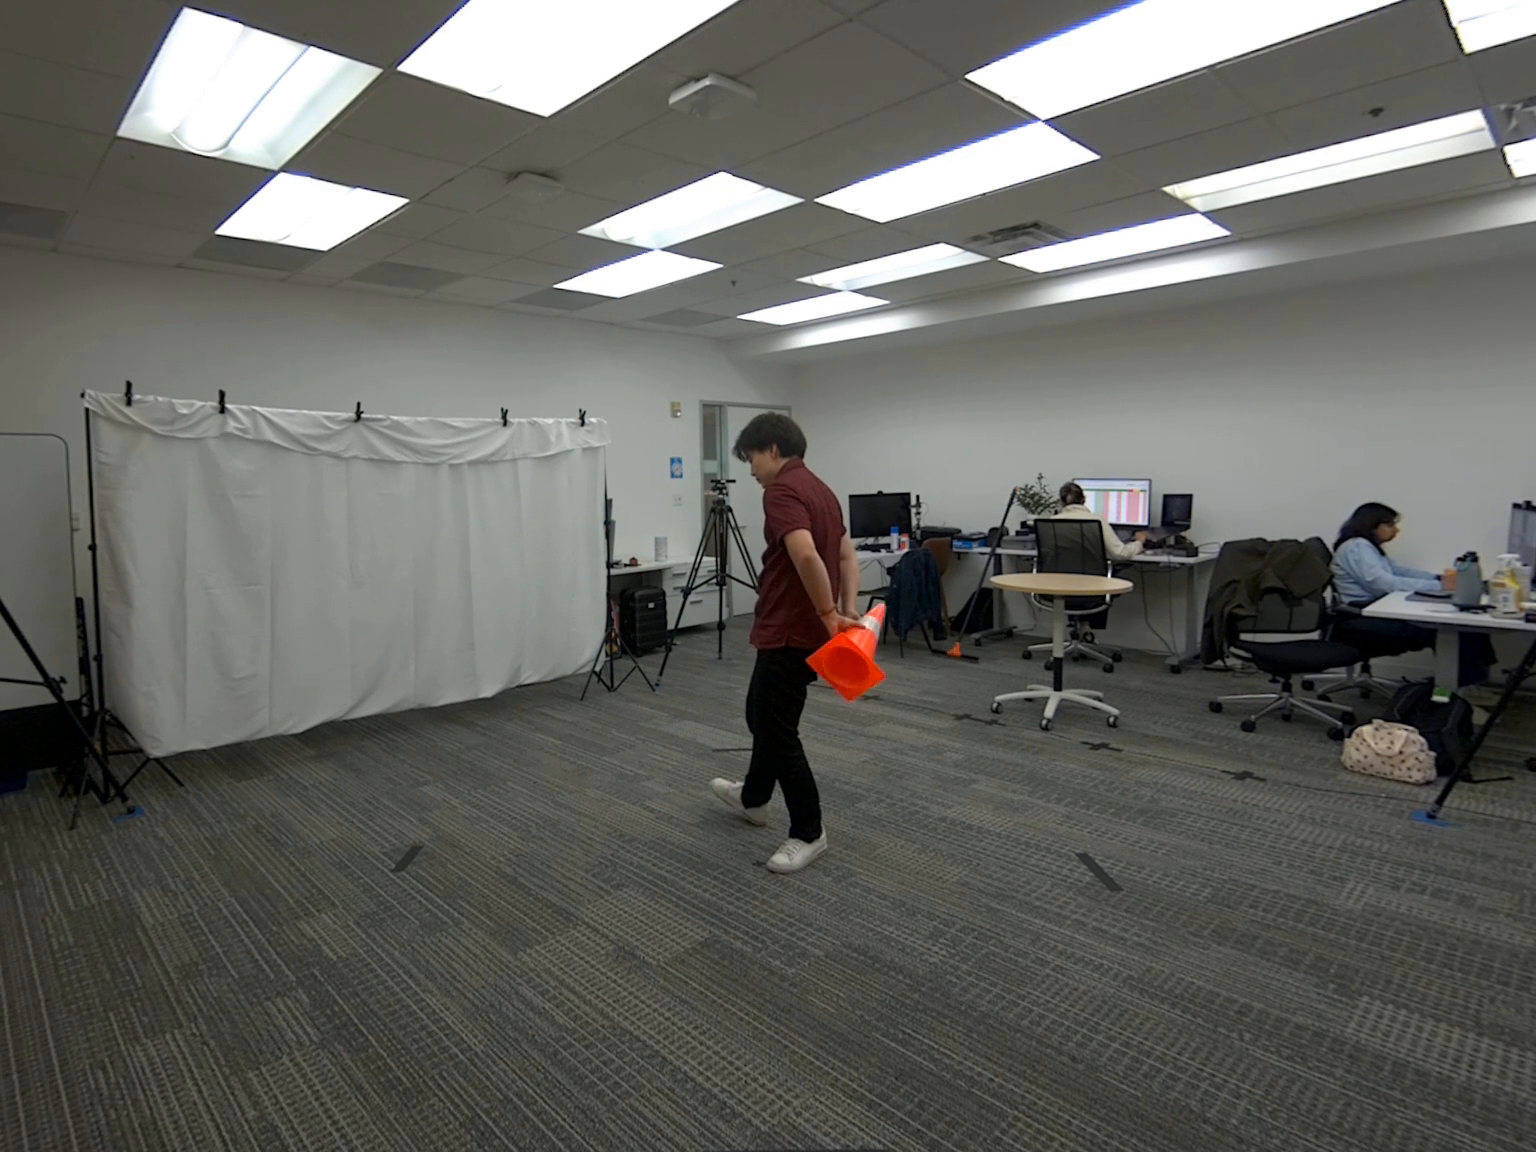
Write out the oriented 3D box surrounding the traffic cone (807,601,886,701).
[{"bbox_3d":[0.325,0.200,2.862,0.205,0.203,0.383,-44,3,40],"label":"traffic cone"}]
